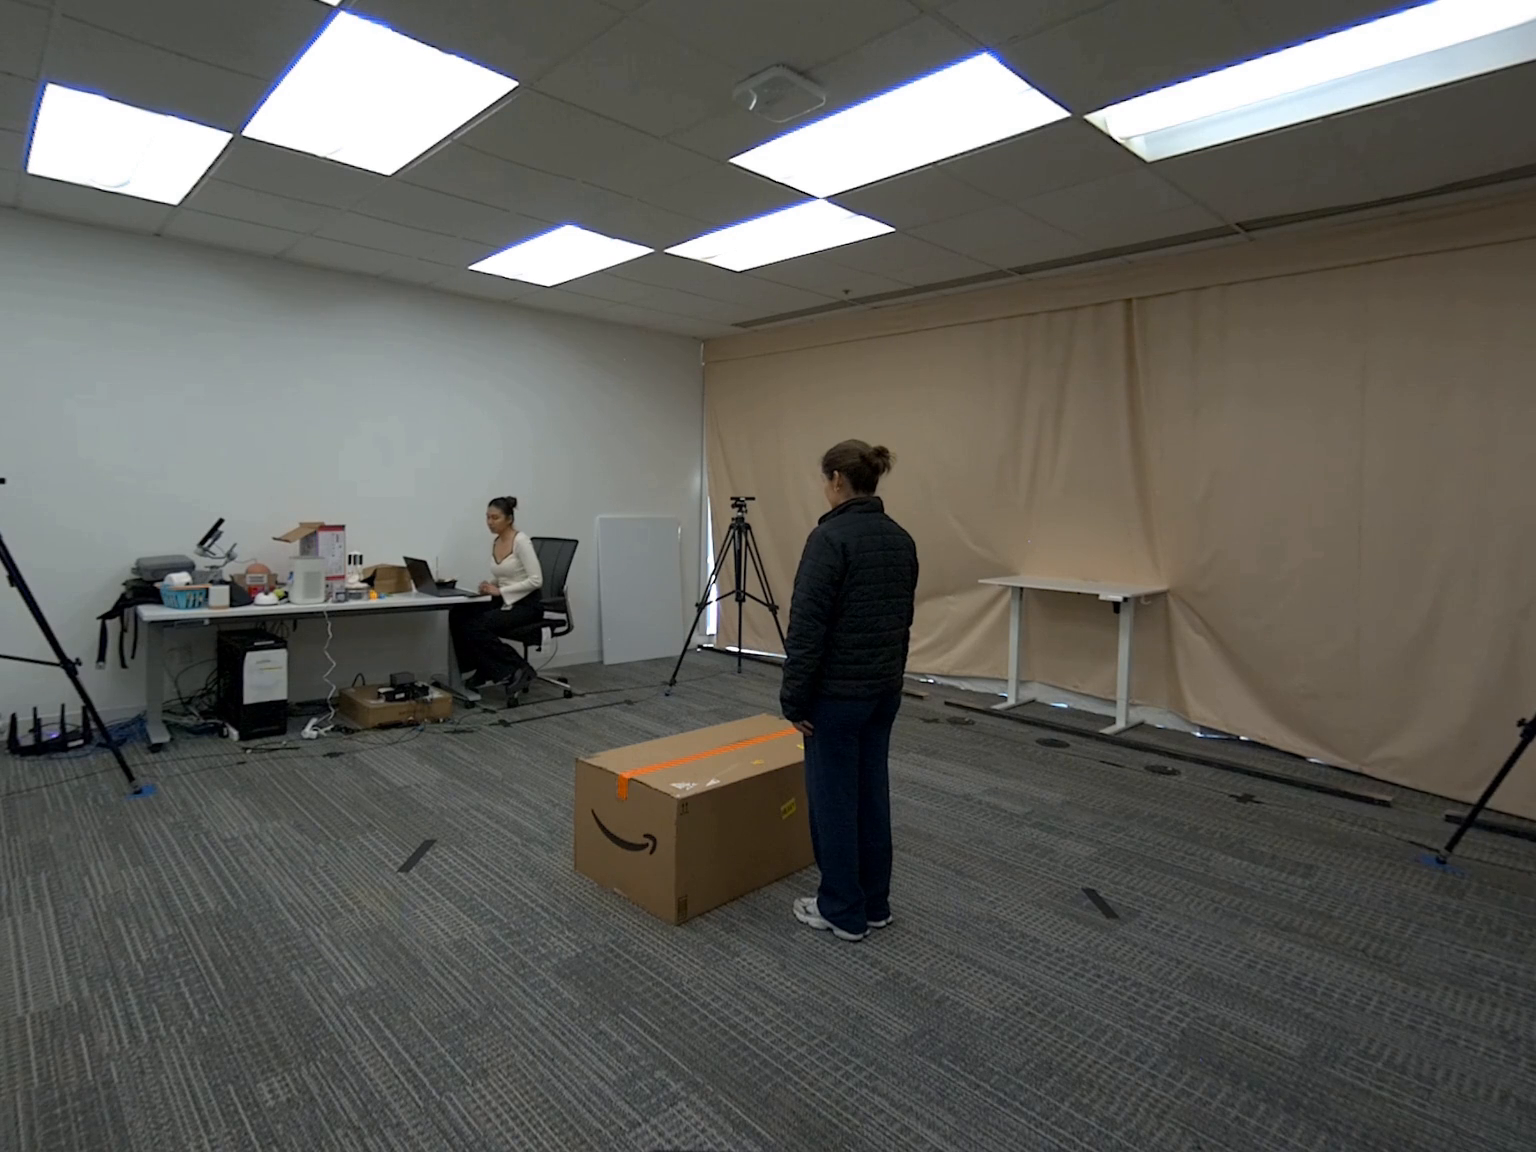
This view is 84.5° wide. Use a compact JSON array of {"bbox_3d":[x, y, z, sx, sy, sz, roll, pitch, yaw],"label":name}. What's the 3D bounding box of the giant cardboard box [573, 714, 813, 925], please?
[{"bbox_3d":[-0.165,0.878,3.265,0.592,0.425,1.003,6,7,43],"label":"giant cardboard box"}]
